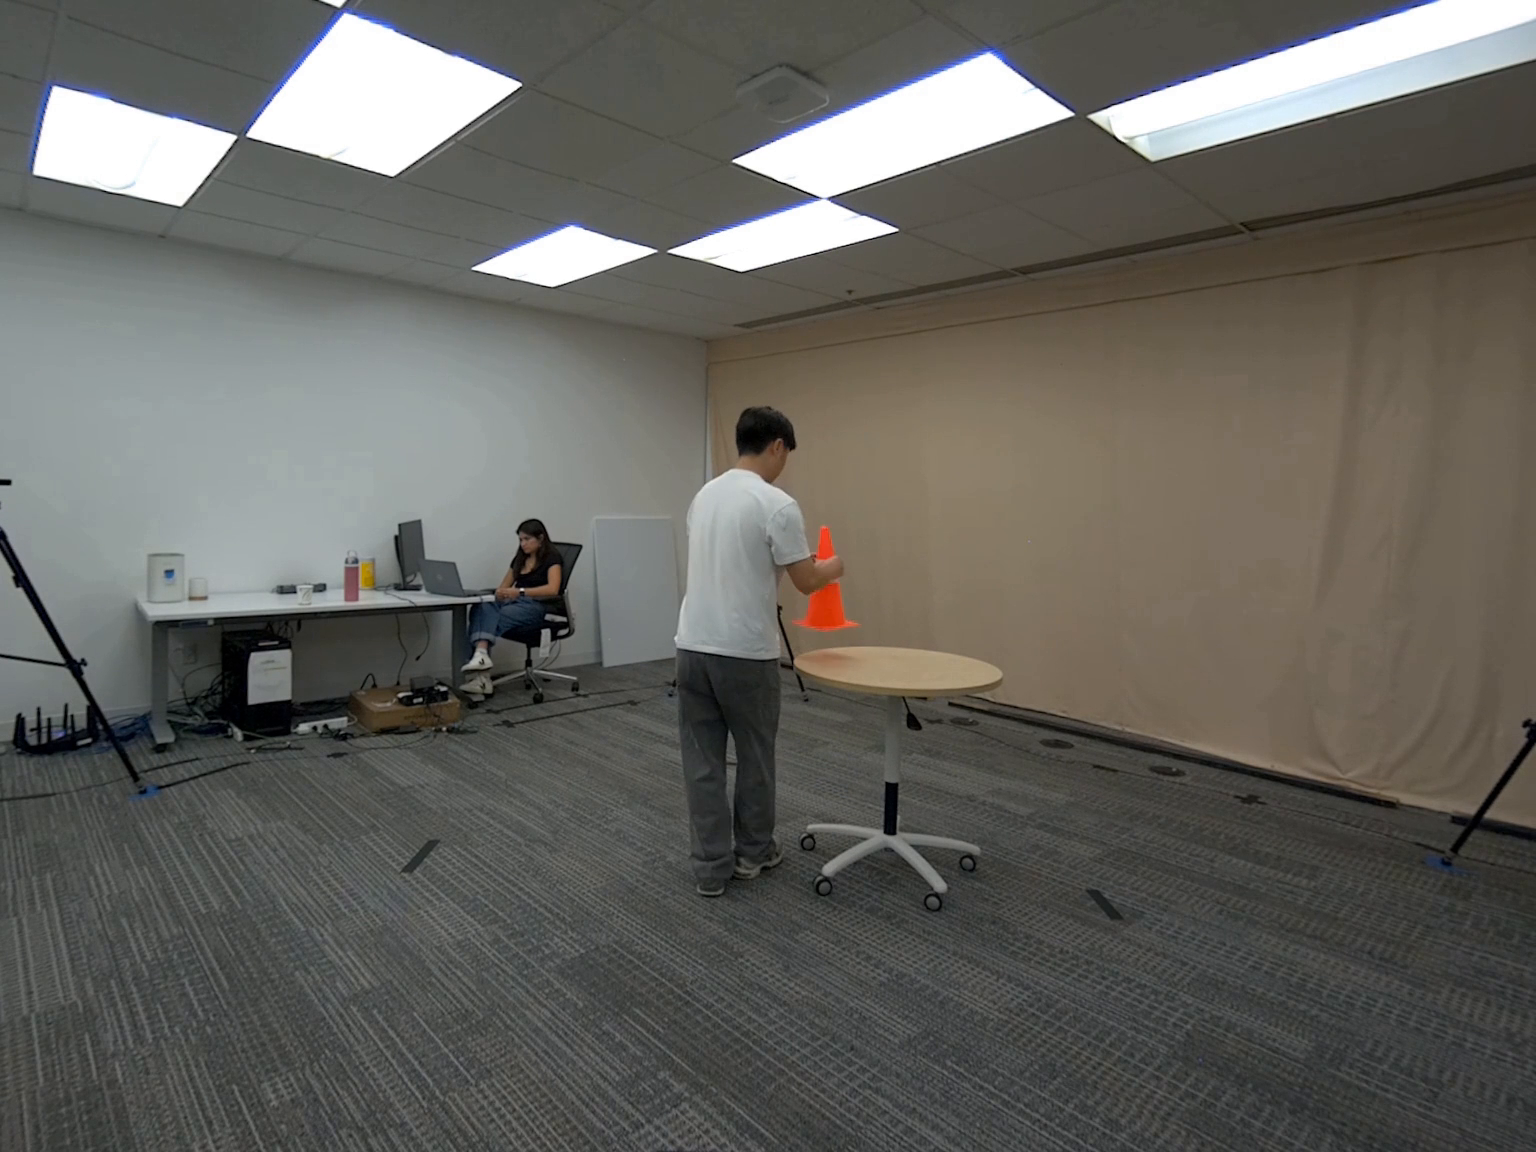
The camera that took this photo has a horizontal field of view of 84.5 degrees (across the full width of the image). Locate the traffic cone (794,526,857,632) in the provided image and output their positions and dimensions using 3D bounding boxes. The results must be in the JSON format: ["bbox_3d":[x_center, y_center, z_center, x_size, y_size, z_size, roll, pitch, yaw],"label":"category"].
[{"bbox_3d":[0.205,0.014,3.270,0.209,0.381,0.200,4,10,31],"label":"traffic cone"}]
